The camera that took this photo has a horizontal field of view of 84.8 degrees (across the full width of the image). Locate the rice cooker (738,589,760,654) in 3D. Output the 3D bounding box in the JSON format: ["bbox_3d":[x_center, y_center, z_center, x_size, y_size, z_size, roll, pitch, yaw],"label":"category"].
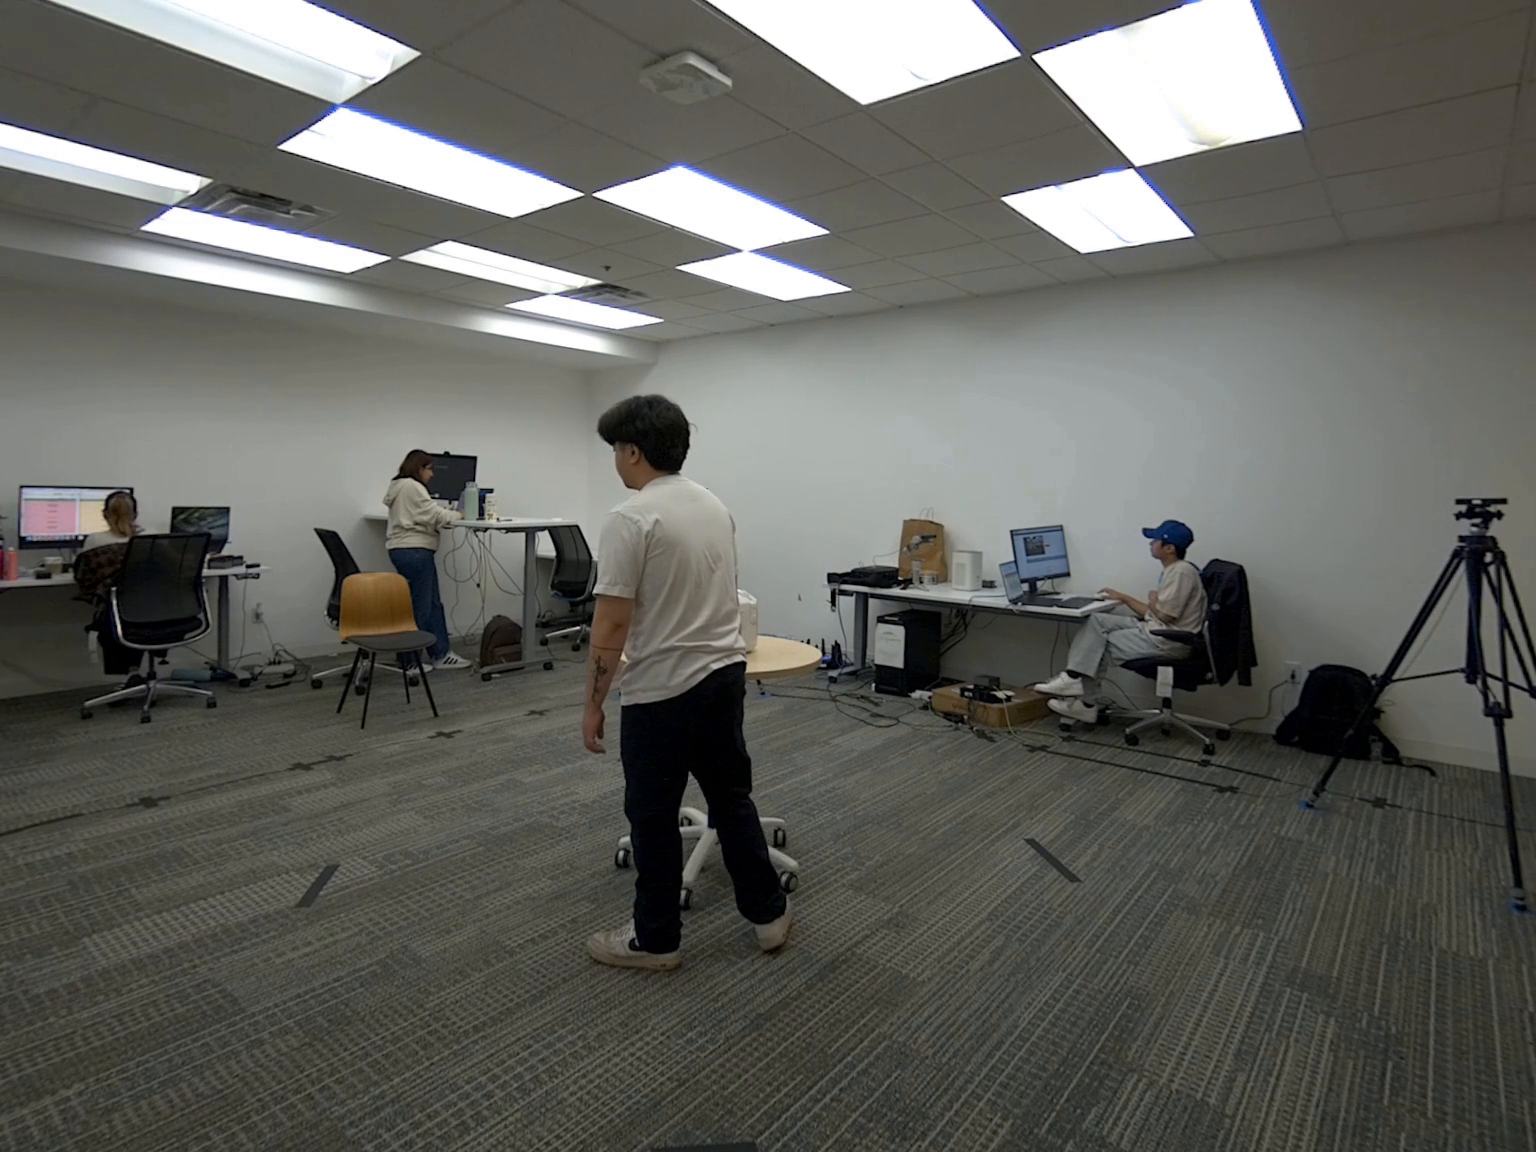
[{"bbox_3d":[-0.147,0.149,3.123,0.227,0.232,0.212,3,5,31],"label":"rice cooker"}]
